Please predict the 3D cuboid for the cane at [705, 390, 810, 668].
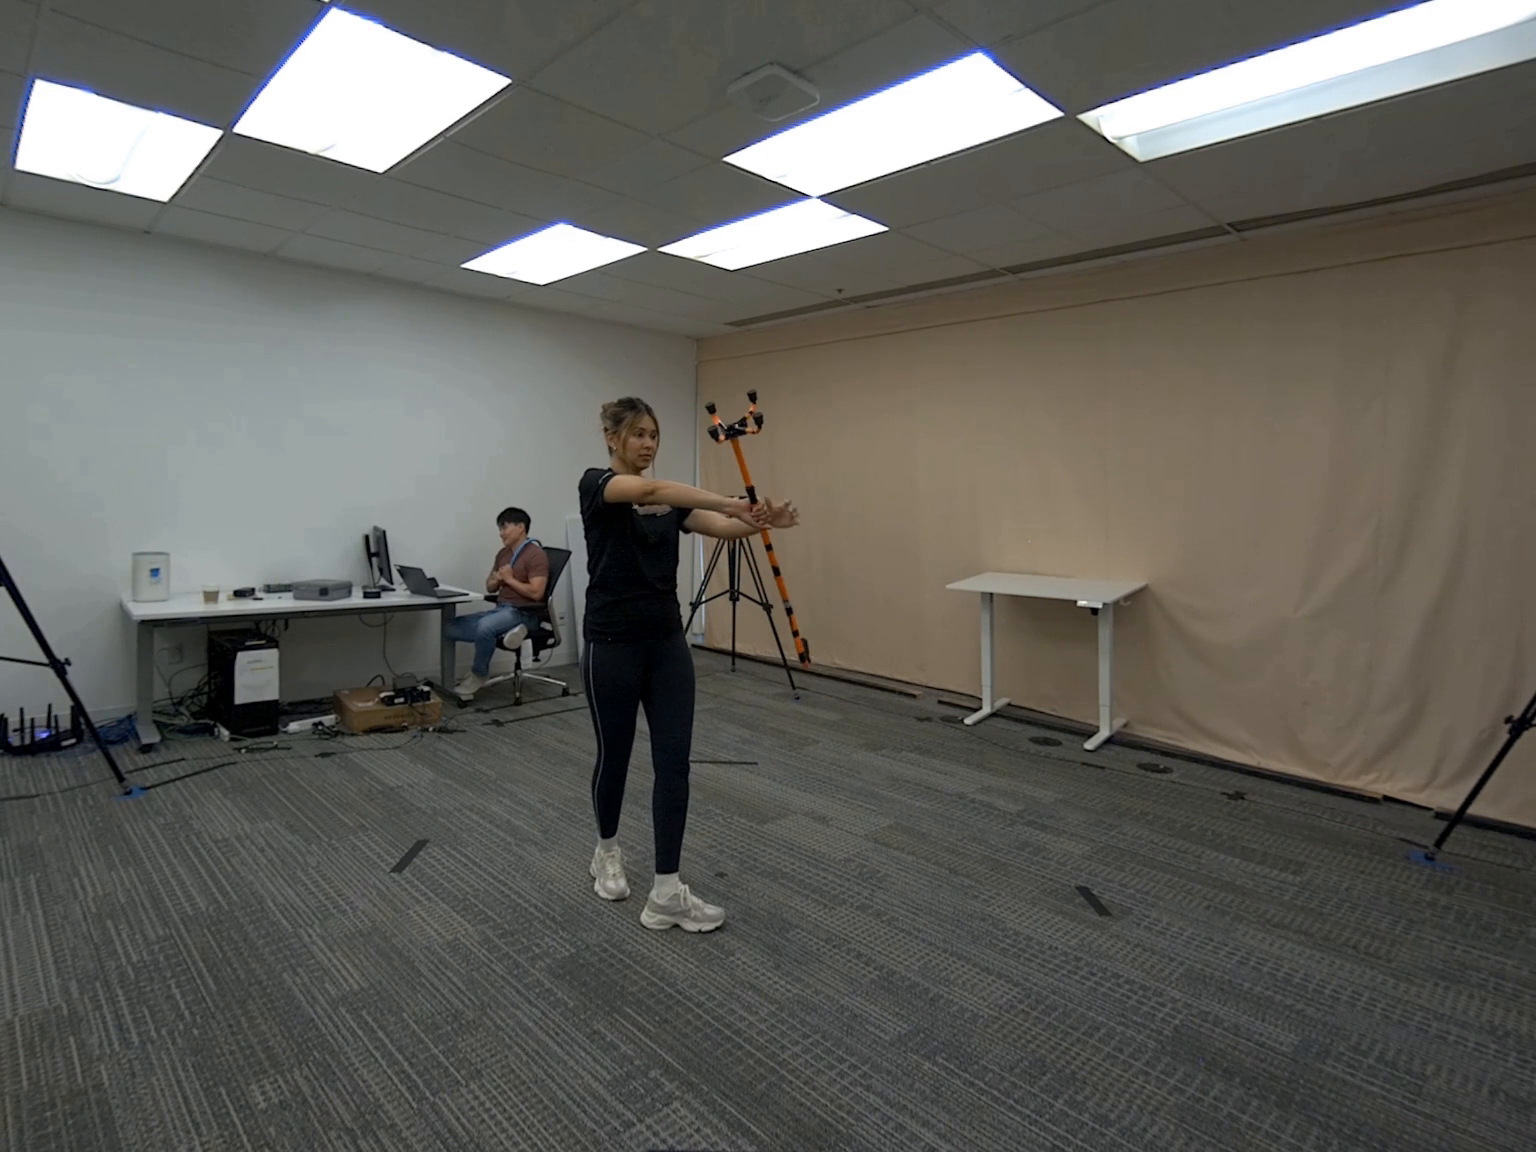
[{"bbox_3d":[0.010,-0.089,2.490,0.152,0.886,0.211,-14,31,4],"label":"cane"}]
